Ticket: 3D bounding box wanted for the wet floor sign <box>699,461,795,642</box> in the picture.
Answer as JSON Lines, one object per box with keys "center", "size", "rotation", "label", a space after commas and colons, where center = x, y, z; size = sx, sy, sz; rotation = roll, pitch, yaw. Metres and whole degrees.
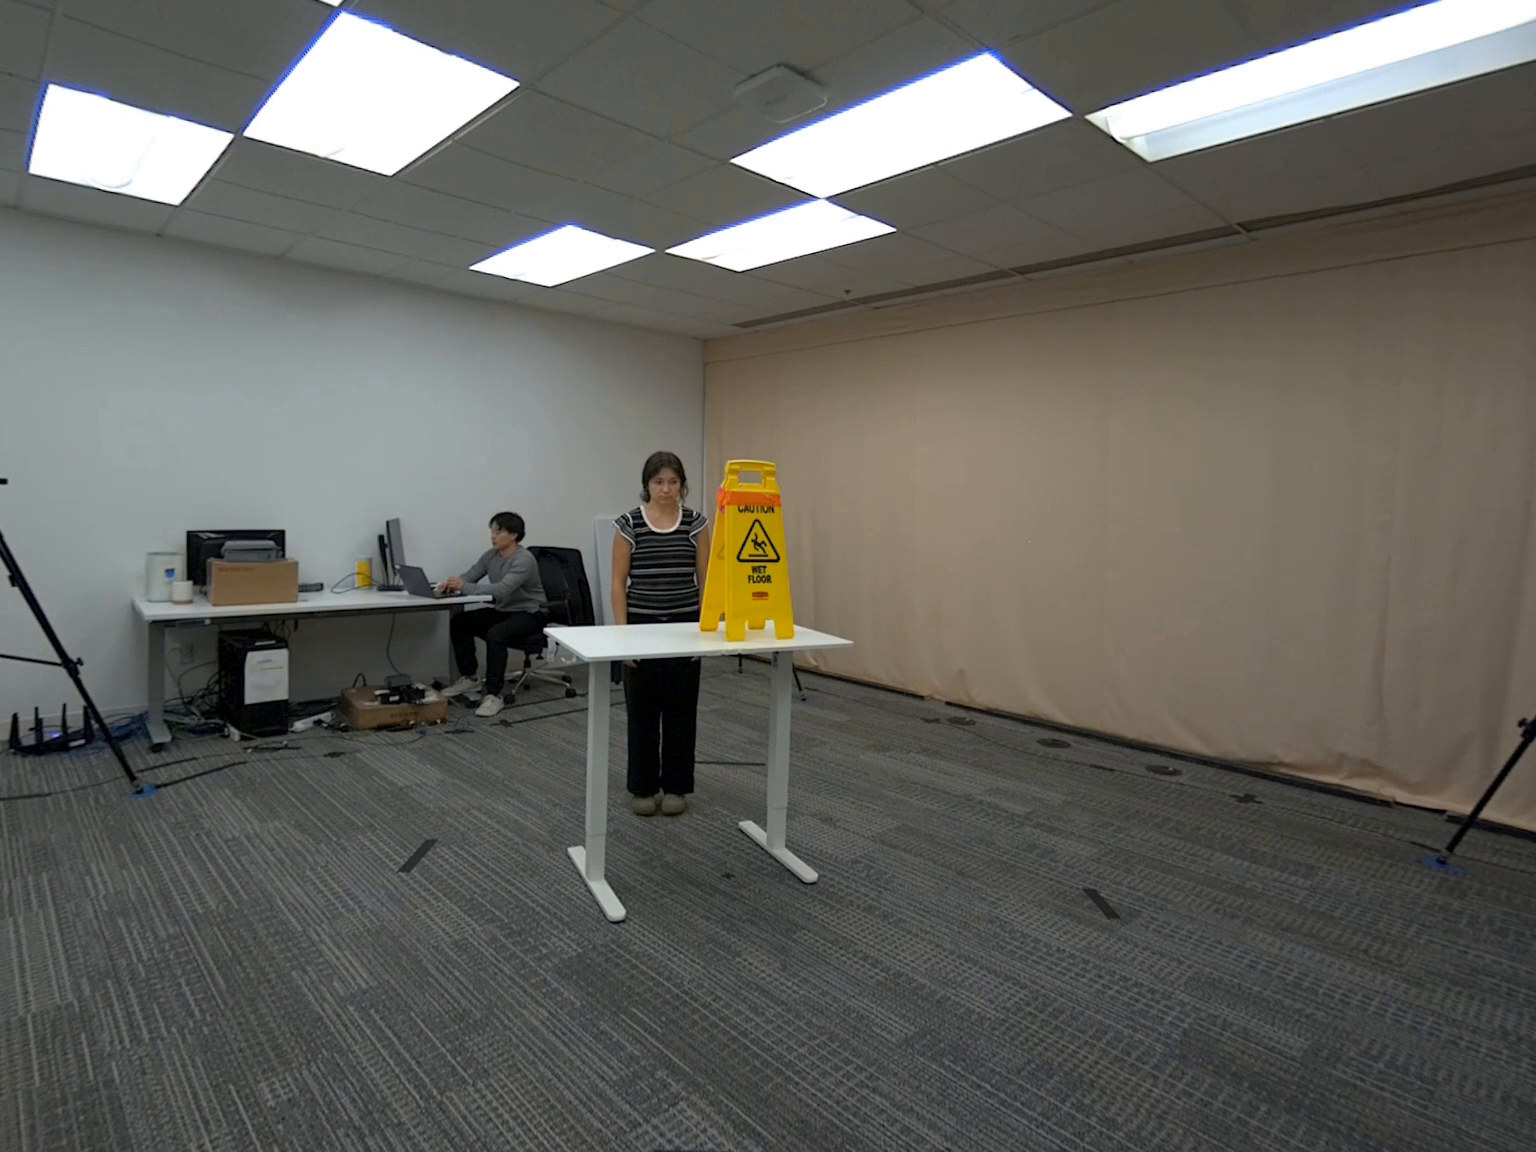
{"center": [-0.078, -0.101, 3.143], "size": [0.277, 0.644, 0.296], "rotation": [0, 4, -27], "label": "wet floor sign"}
